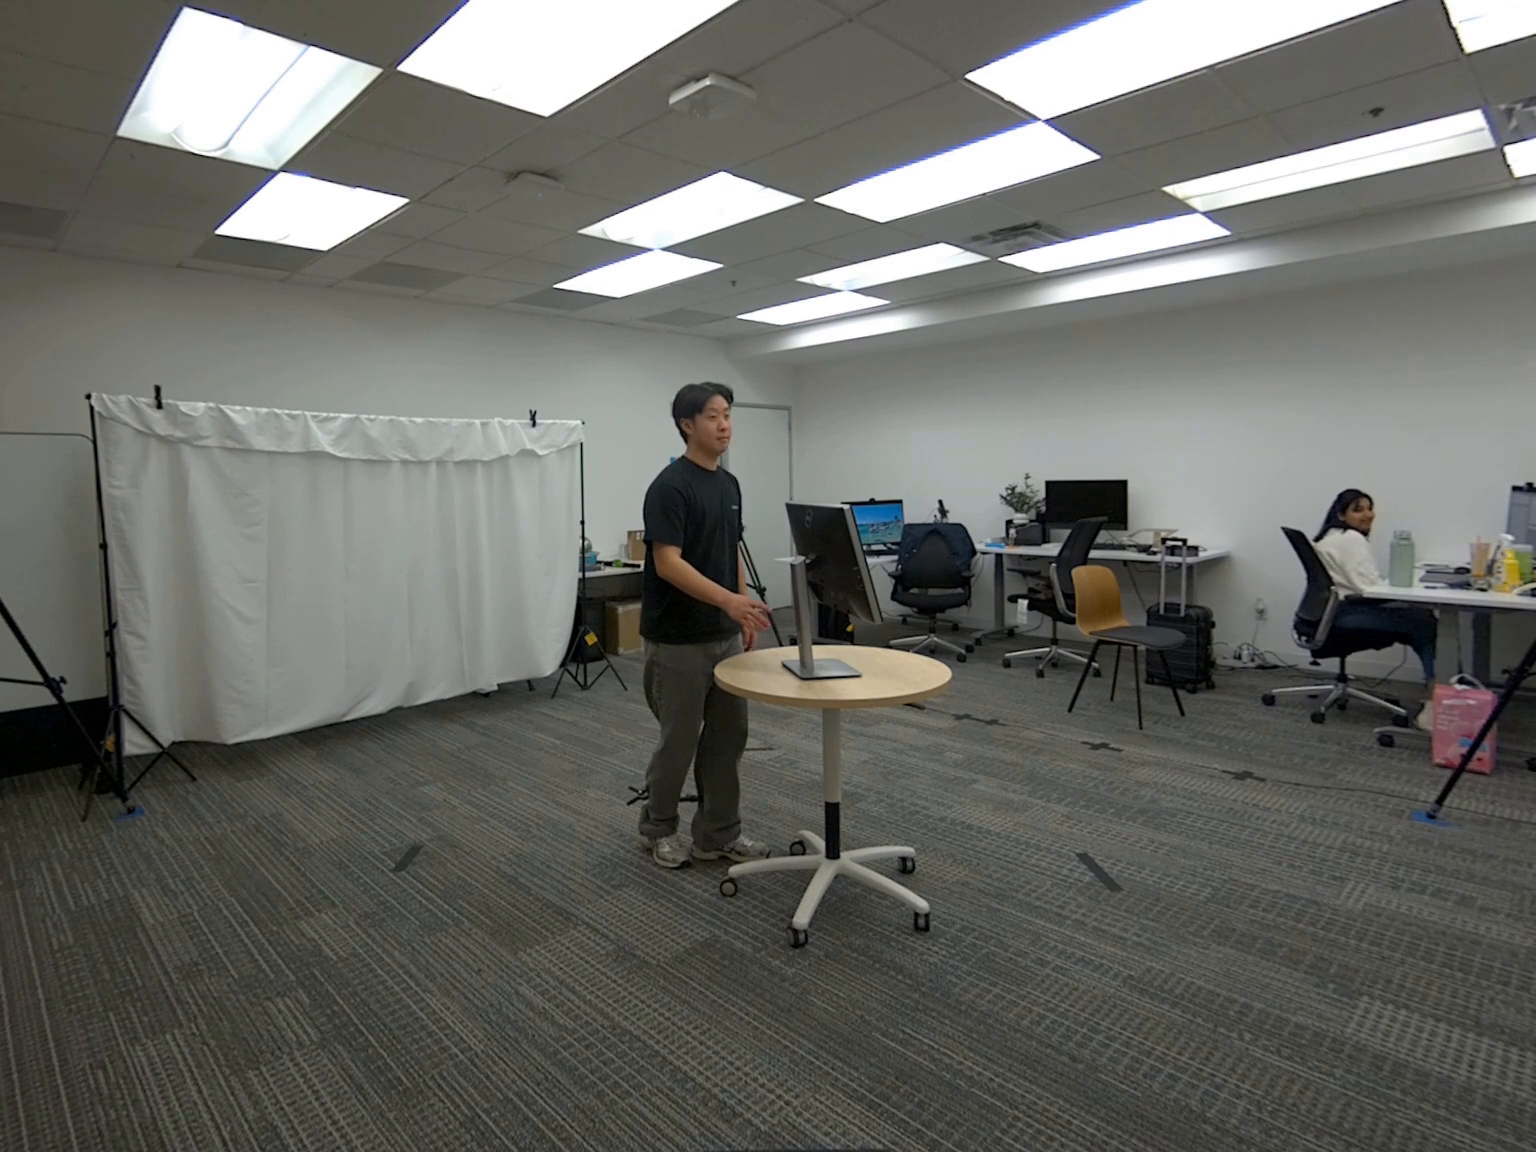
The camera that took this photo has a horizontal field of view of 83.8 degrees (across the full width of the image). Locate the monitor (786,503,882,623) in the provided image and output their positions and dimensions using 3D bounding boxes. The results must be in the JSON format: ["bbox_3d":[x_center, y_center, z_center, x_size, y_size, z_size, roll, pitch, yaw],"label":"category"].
[{"bbox_3d":[0.175,0.044,2.756,0.220,0.563,0.571,-1,5,-13],"label":"monitor"}]
